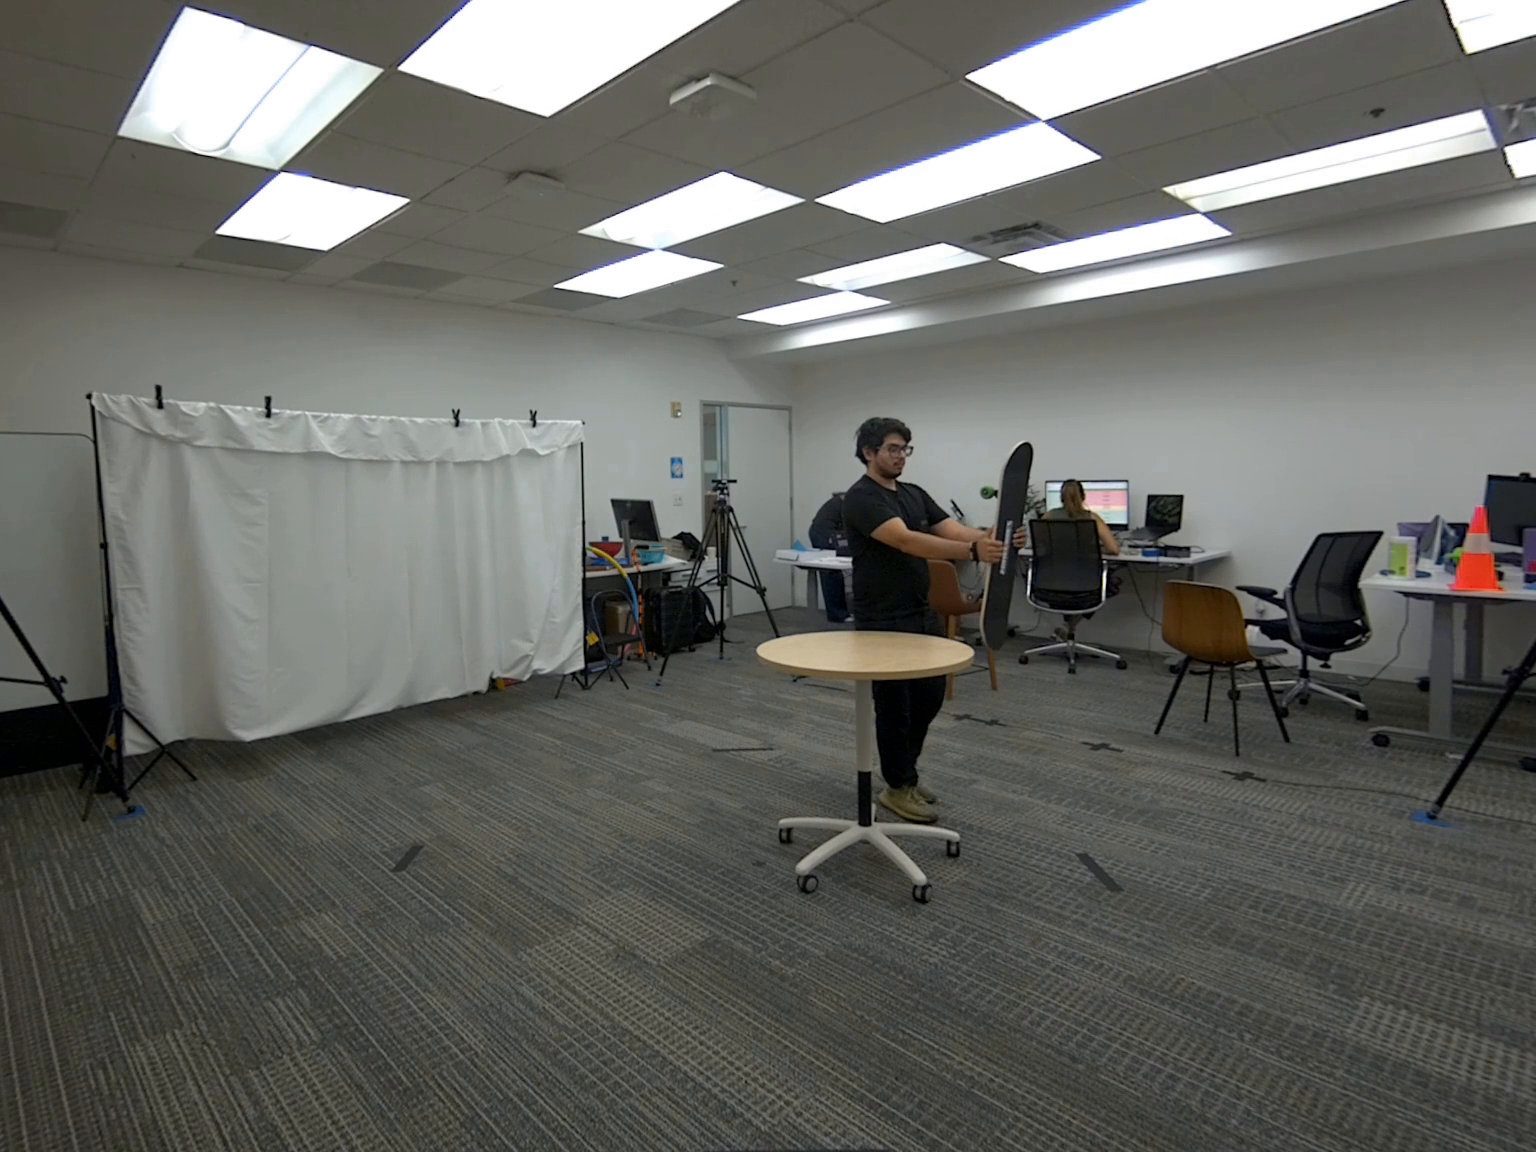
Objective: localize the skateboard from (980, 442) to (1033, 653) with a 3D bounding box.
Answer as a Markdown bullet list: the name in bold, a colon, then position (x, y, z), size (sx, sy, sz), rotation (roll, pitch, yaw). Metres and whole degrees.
- **skateboard**: position (0.864, -0.112, 3.200), size (0.188, 0.779, 0.114), rotation (-5, 13, -44)
